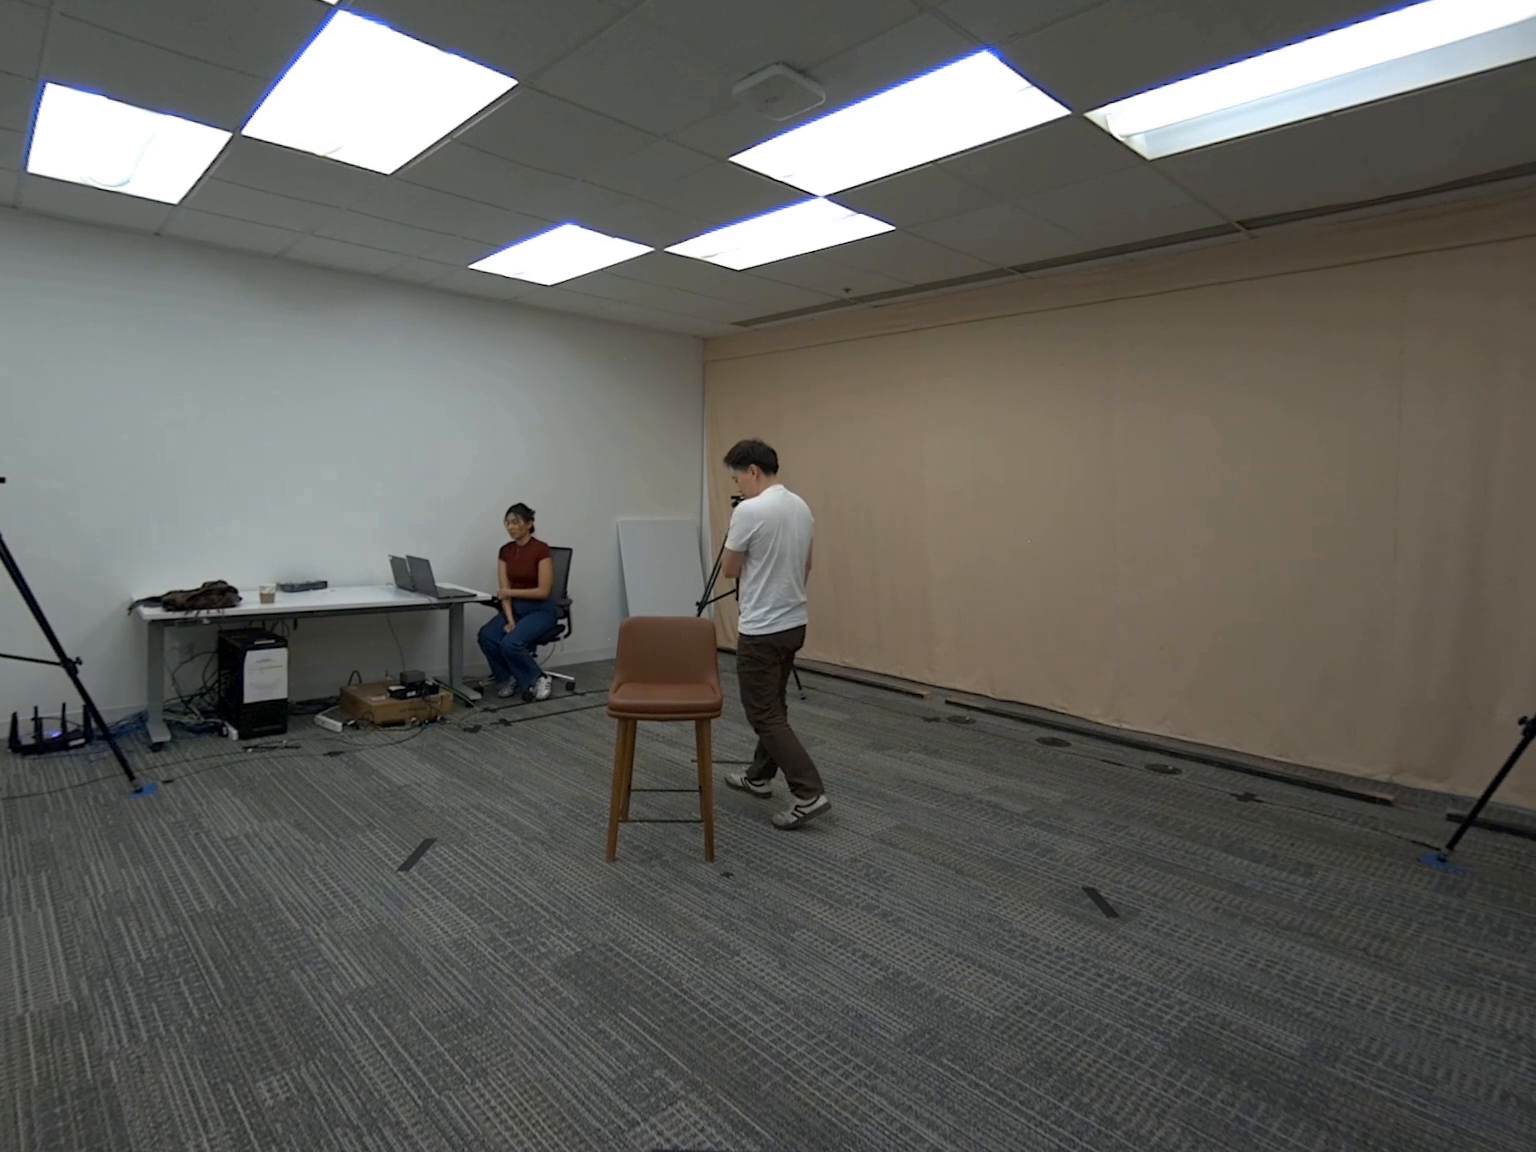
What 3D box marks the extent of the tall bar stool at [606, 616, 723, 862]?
[{"bbox_3d":[-0.424,0.635,3.402,0.455,0.889,0.469,1,2,-4],"label":"tall bar stool"}]
